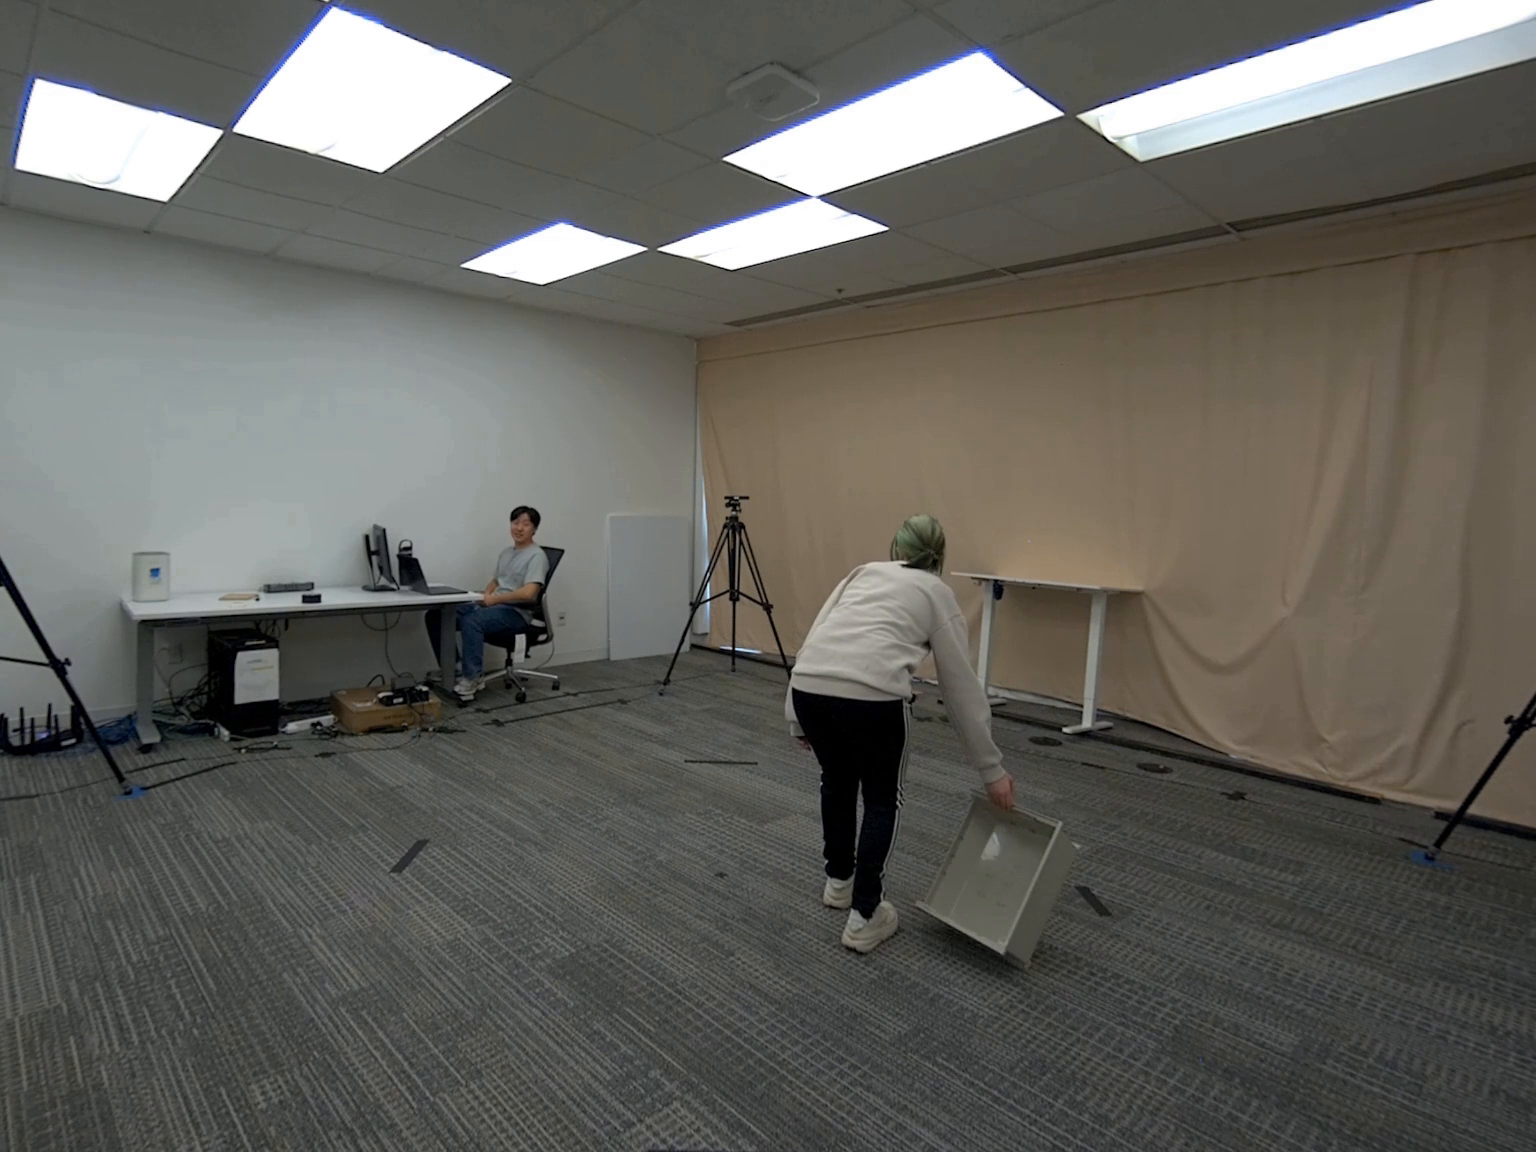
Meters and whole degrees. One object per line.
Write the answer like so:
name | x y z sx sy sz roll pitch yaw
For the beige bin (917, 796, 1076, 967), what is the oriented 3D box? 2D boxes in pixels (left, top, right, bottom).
beige bin | 0.710 0.944 2.666 0.183 0.423 0.387 45 -20 -32
